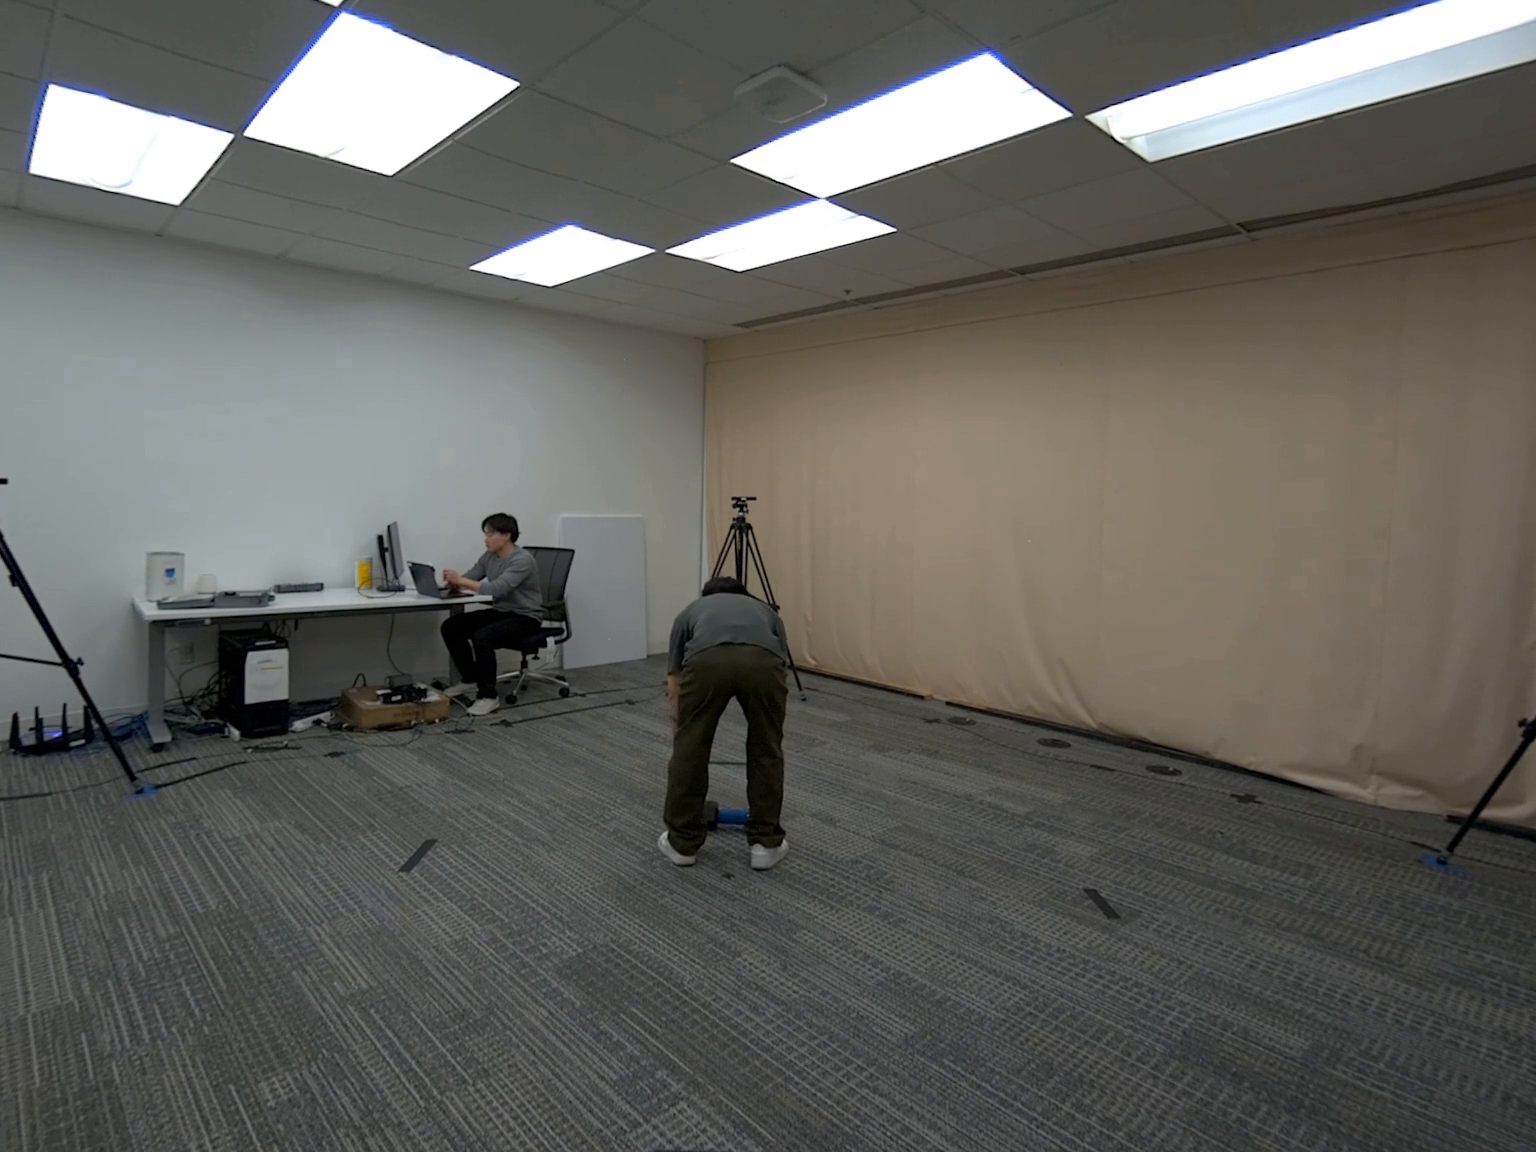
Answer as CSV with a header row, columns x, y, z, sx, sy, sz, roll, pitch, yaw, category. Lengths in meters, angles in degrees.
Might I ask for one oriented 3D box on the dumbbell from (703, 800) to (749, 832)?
x,y,z,sx,sy,sz,roll,pitch,yaw,category
-0.153,1.017,3.546,0.294,0.120,0.110,2,34,3,dumbbell
